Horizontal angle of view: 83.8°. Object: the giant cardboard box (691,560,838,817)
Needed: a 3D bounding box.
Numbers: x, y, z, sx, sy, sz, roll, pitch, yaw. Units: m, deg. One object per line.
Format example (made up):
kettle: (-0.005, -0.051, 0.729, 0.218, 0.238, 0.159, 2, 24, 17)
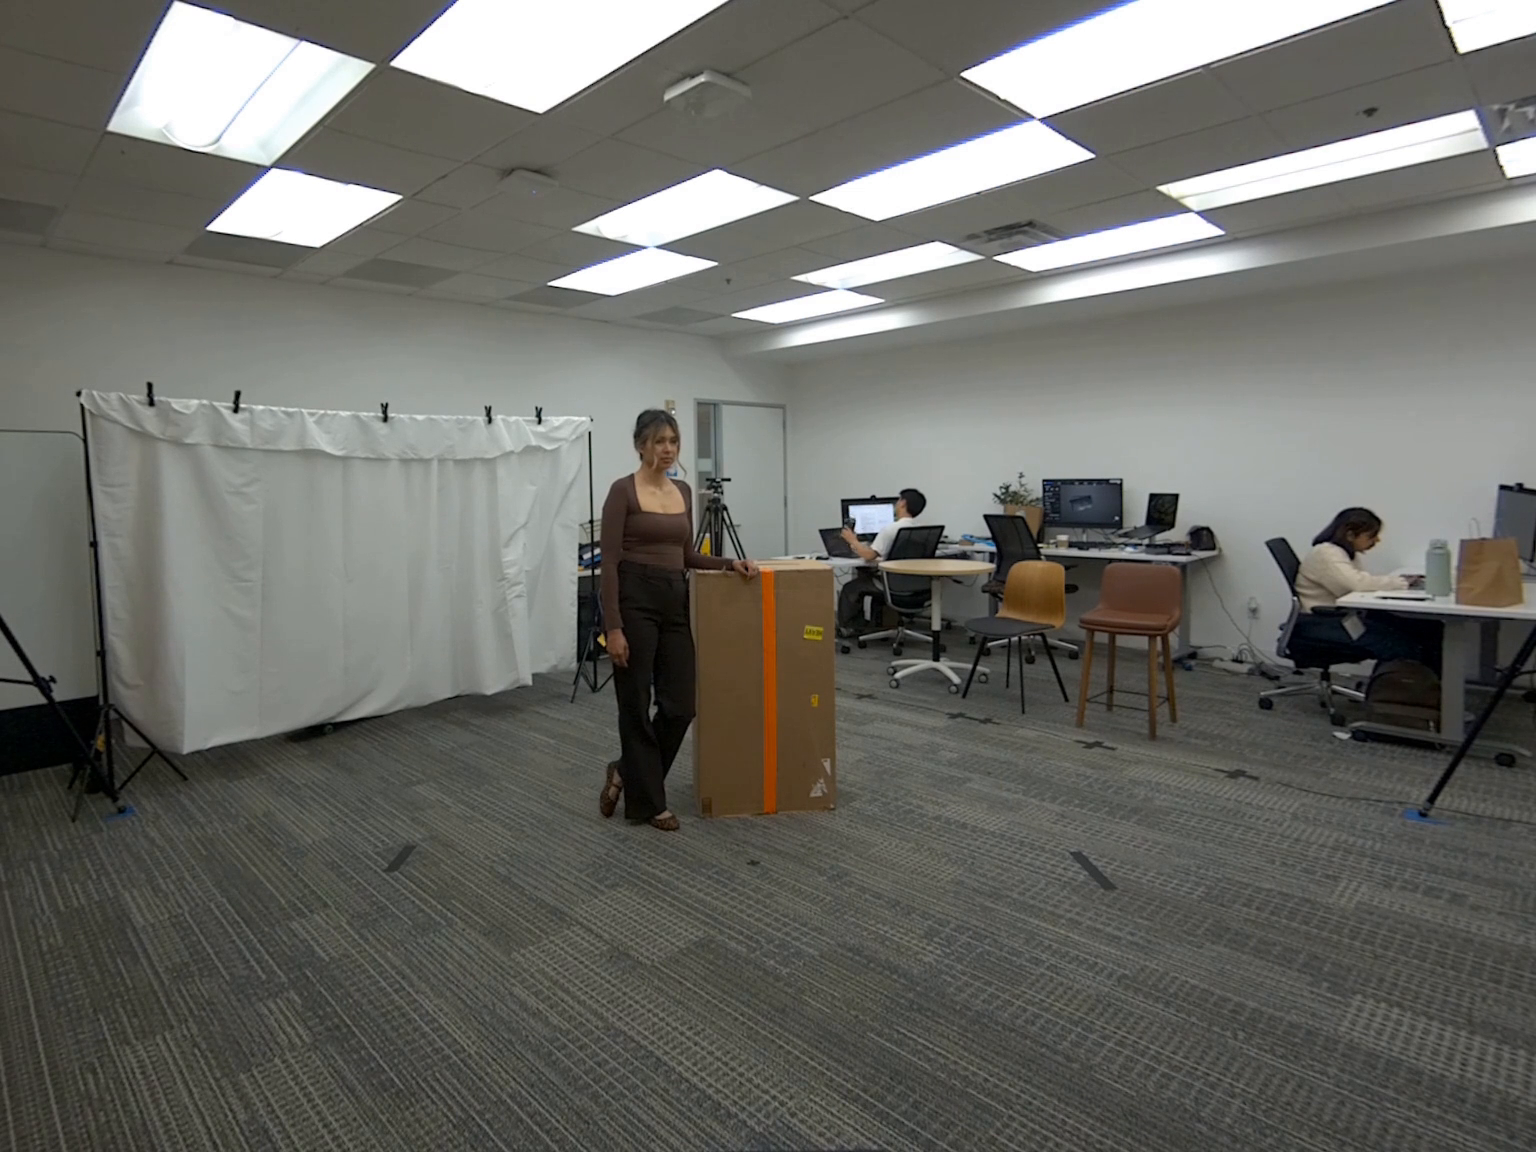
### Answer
giant cardboard box: (-0.031, 0.463, 3.735, 0.580, 1.024, 0.451, -1, 4, -8)
